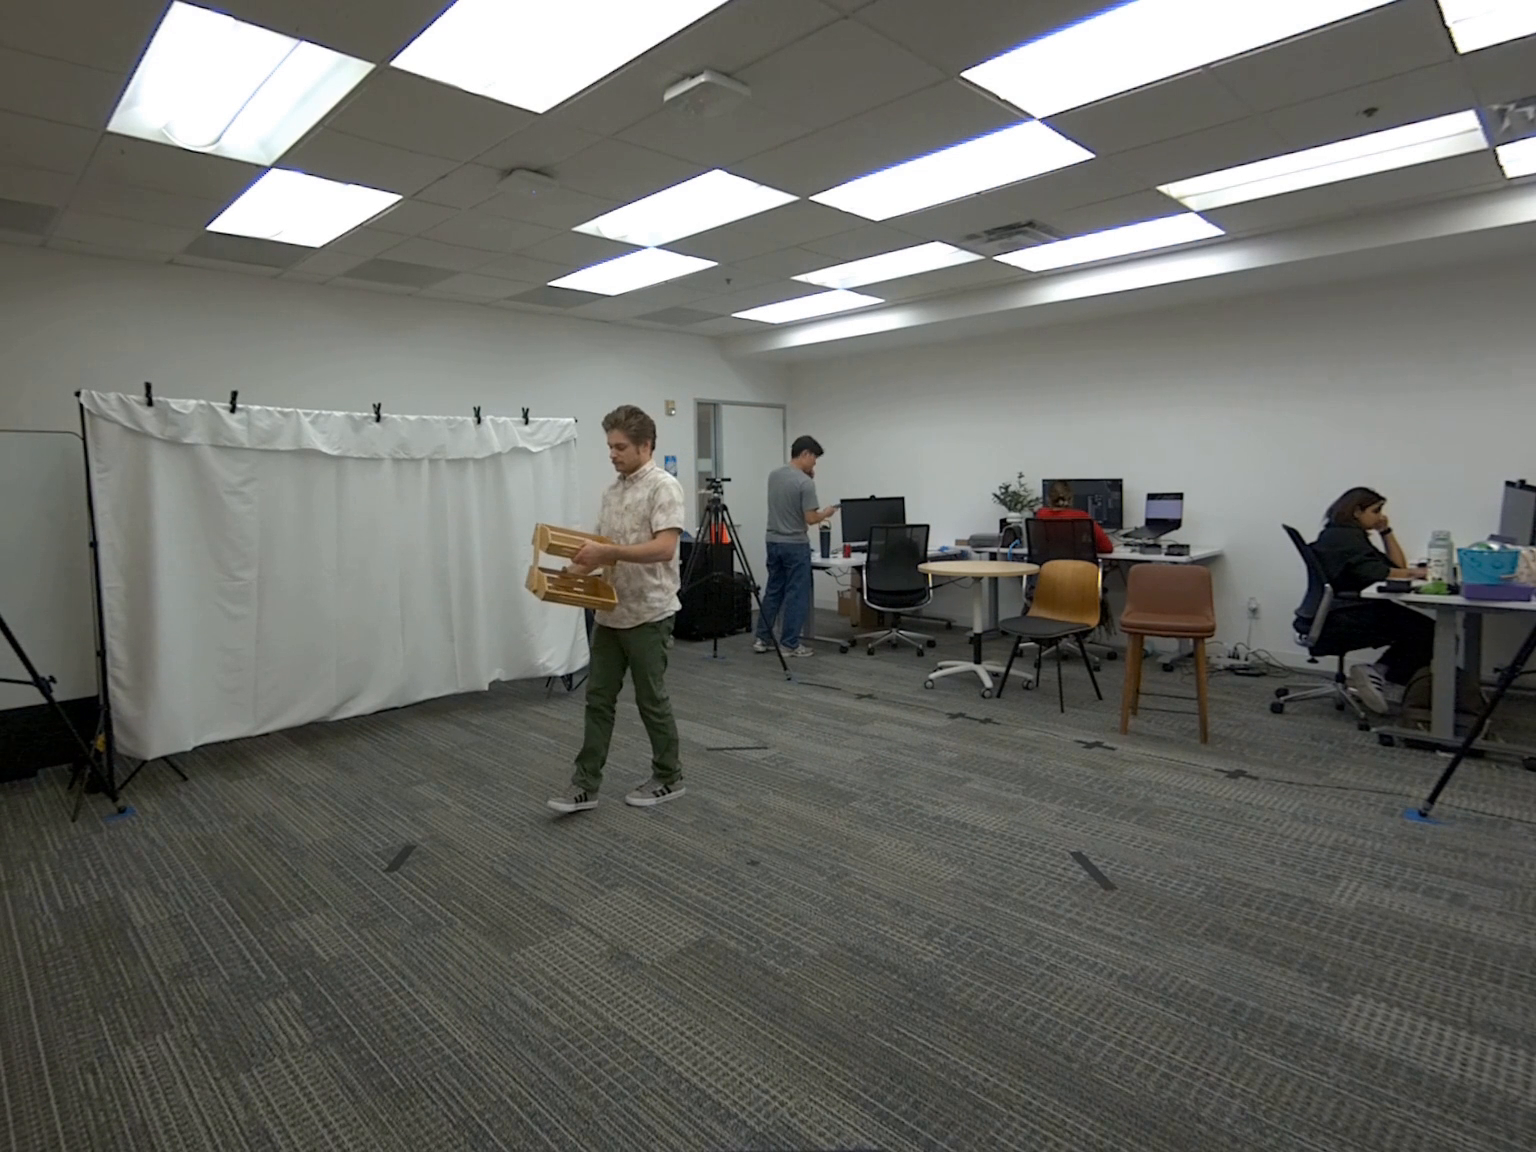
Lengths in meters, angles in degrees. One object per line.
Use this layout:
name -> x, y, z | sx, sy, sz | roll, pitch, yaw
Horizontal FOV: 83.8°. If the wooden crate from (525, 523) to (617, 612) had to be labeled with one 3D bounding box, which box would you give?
wooden crate -> -0.776, -0.042, 3.411 | 0.314, 0.273, 0.312 | 12, 5, -33
